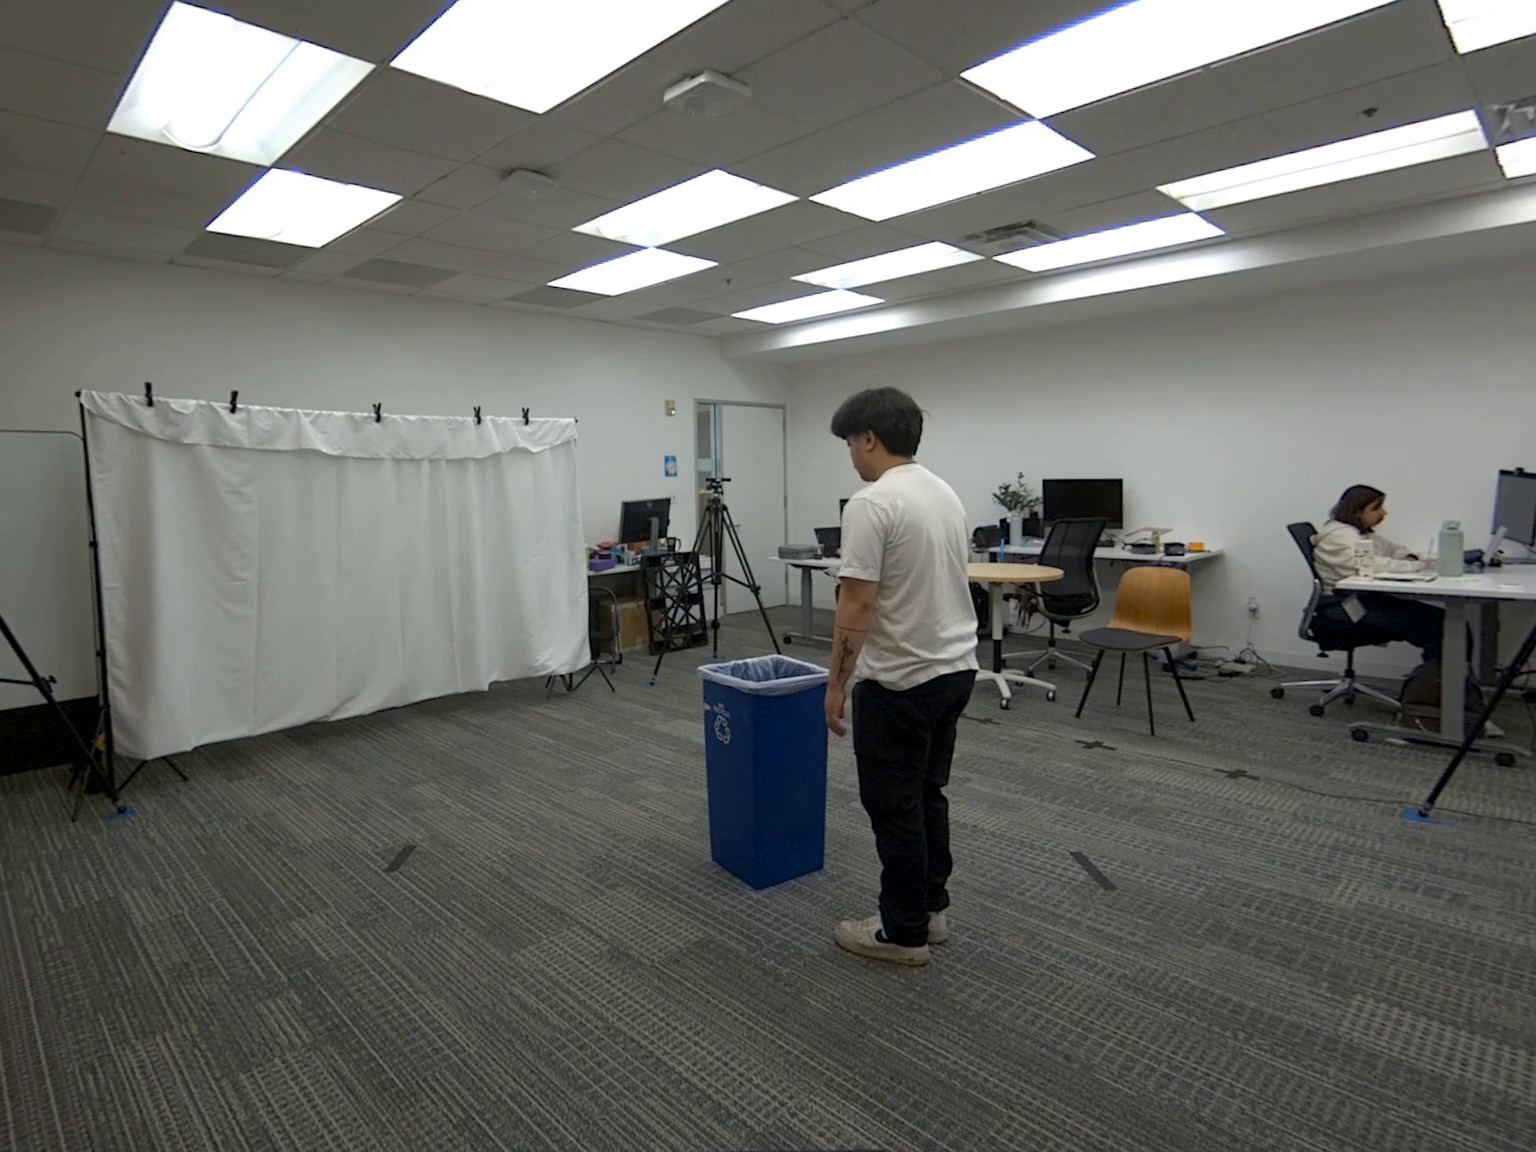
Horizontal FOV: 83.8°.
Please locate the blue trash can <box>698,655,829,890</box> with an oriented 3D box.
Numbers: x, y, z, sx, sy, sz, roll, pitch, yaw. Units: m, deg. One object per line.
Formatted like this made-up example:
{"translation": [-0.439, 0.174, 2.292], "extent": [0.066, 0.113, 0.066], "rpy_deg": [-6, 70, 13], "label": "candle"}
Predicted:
{"translation": [-0.001, 0.687, 3.070], "extent": [0.368, 0.711, 0.385], "rpy_deg": [-4, 5, -35], "label": "blue trash can"}
